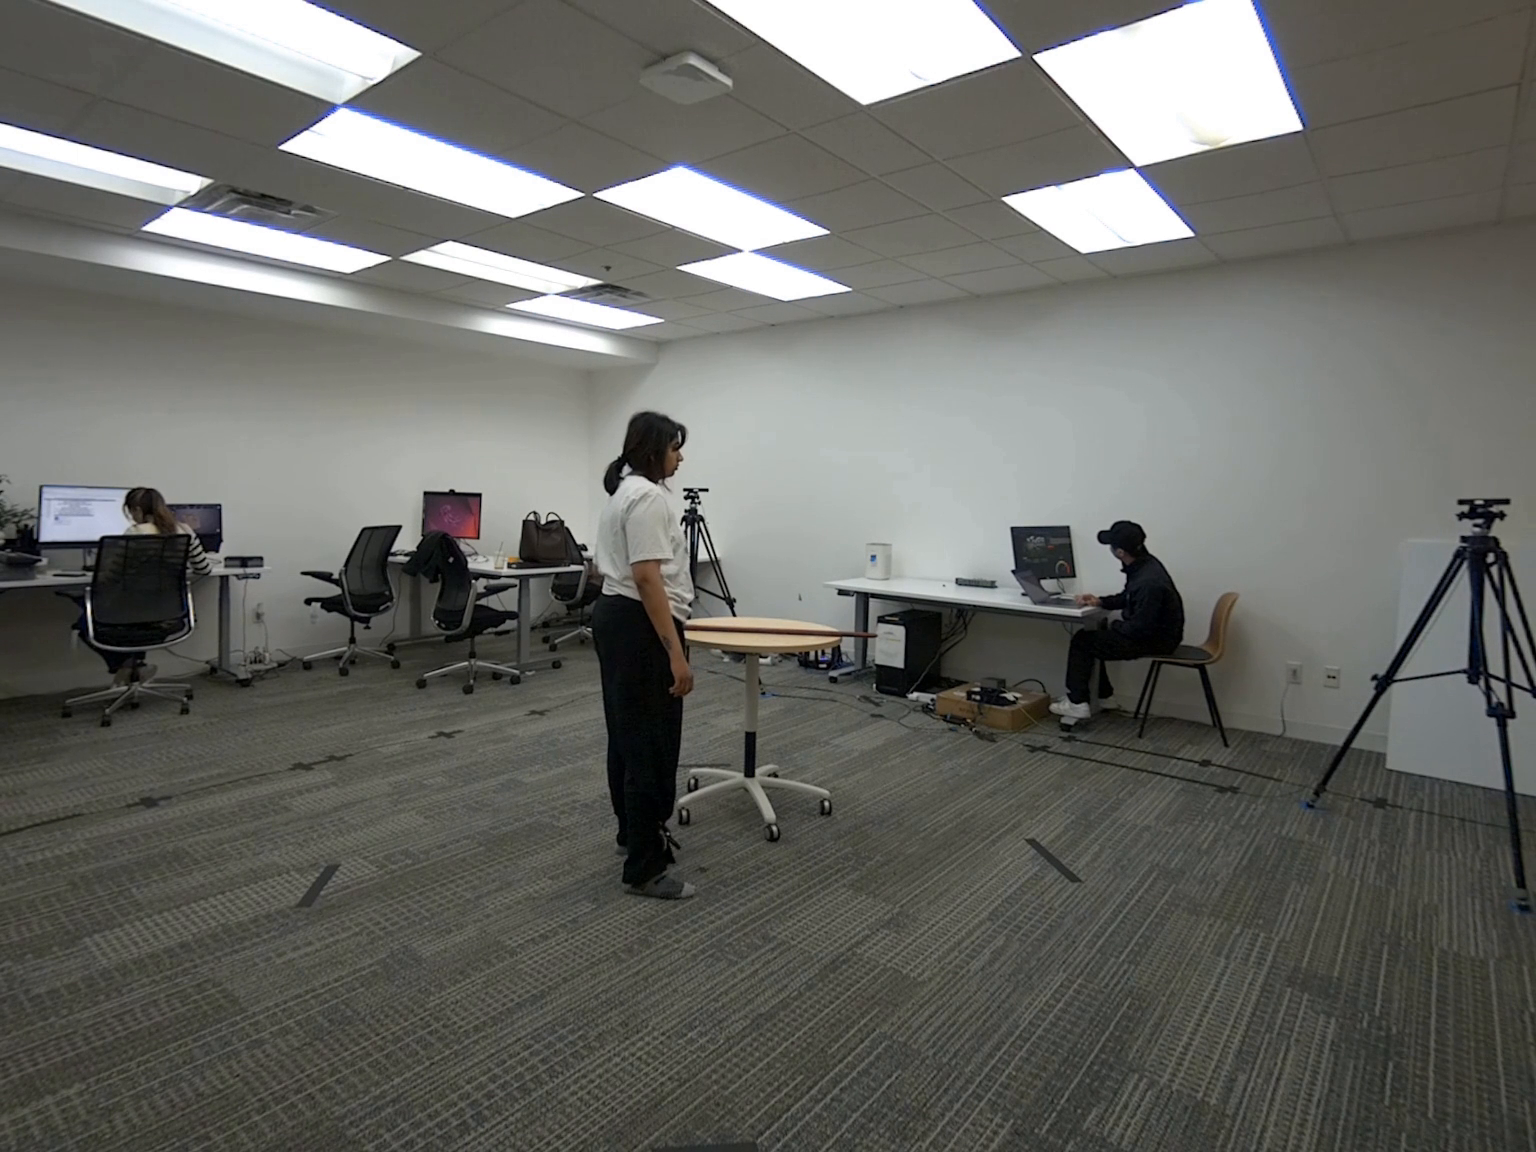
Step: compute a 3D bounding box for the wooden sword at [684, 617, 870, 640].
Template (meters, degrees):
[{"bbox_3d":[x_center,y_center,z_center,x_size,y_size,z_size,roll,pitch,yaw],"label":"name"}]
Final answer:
[{"bbox_3d":[-0.120,0.206,3.584,1.031,0.024,0.052,3,18,6],"label":"wooden sword"}]
